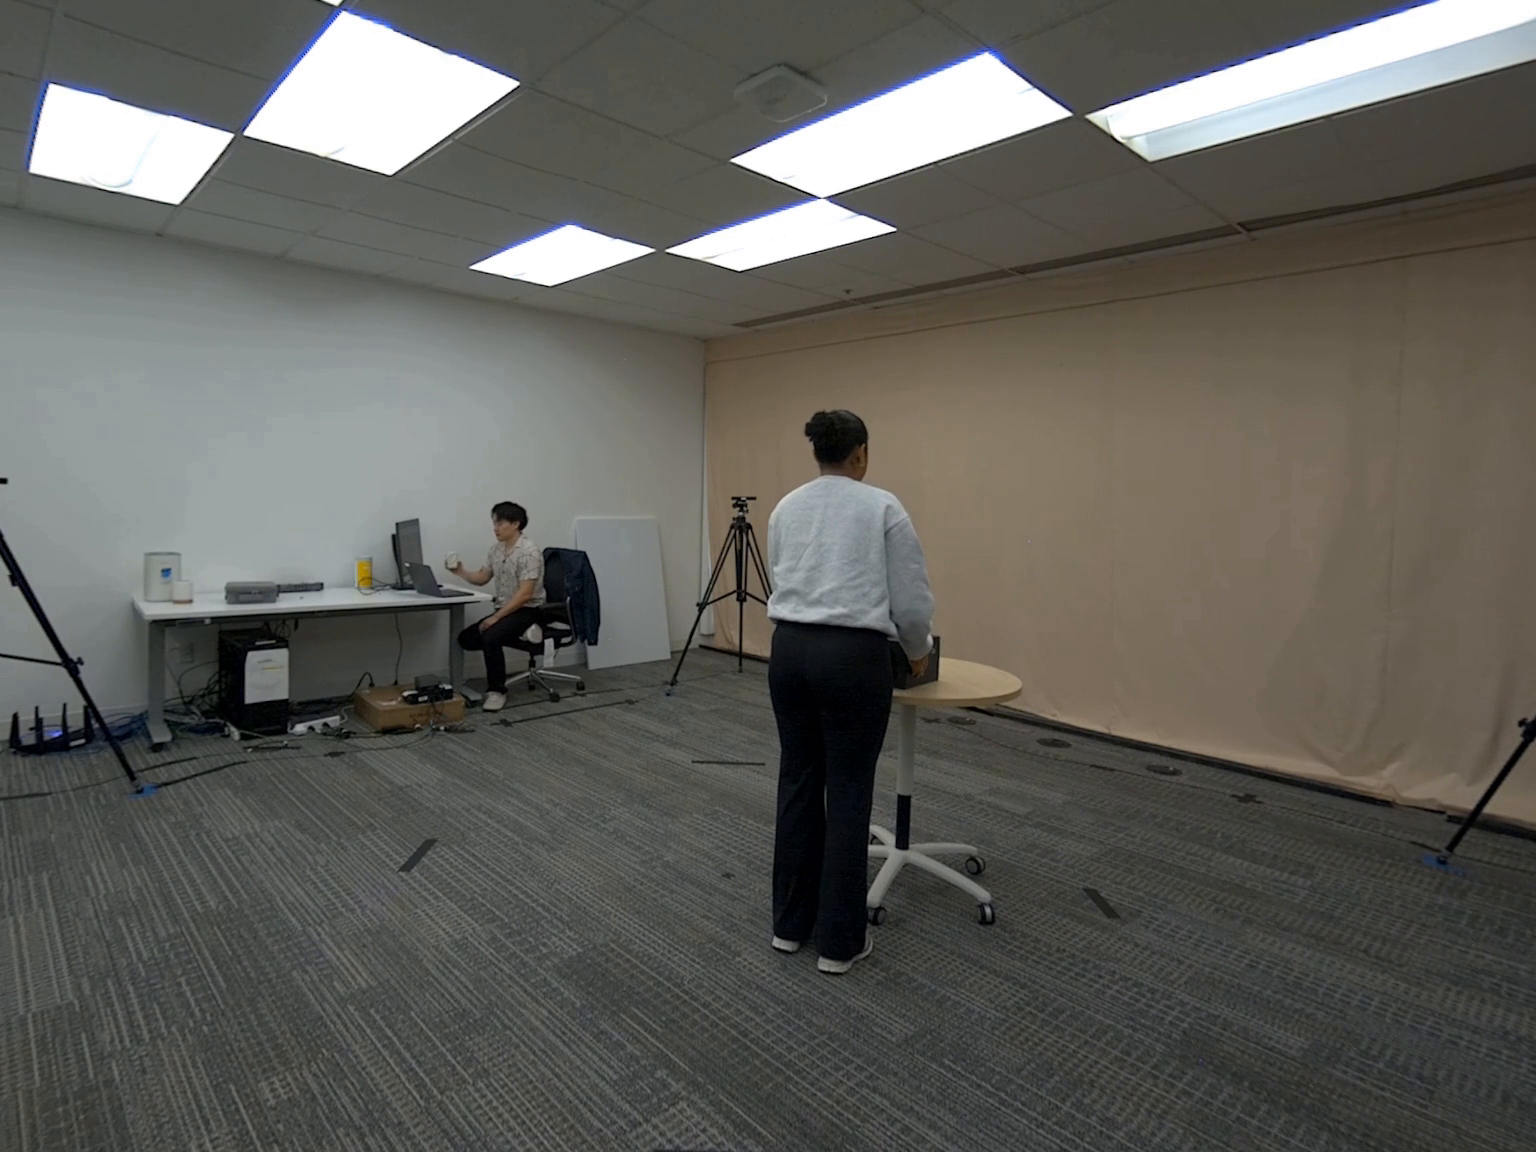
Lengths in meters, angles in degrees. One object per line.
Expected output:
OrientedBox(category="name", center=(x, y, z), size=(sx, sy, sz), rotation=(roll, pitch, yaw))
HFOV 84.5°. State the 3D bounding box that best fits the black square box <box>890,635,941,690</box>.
OrientedBox(category="black square box", center=(0.438, 0.280, 2.887), size=(0.222, 0.155, 0.223), rotation=(6, 6, 39))
